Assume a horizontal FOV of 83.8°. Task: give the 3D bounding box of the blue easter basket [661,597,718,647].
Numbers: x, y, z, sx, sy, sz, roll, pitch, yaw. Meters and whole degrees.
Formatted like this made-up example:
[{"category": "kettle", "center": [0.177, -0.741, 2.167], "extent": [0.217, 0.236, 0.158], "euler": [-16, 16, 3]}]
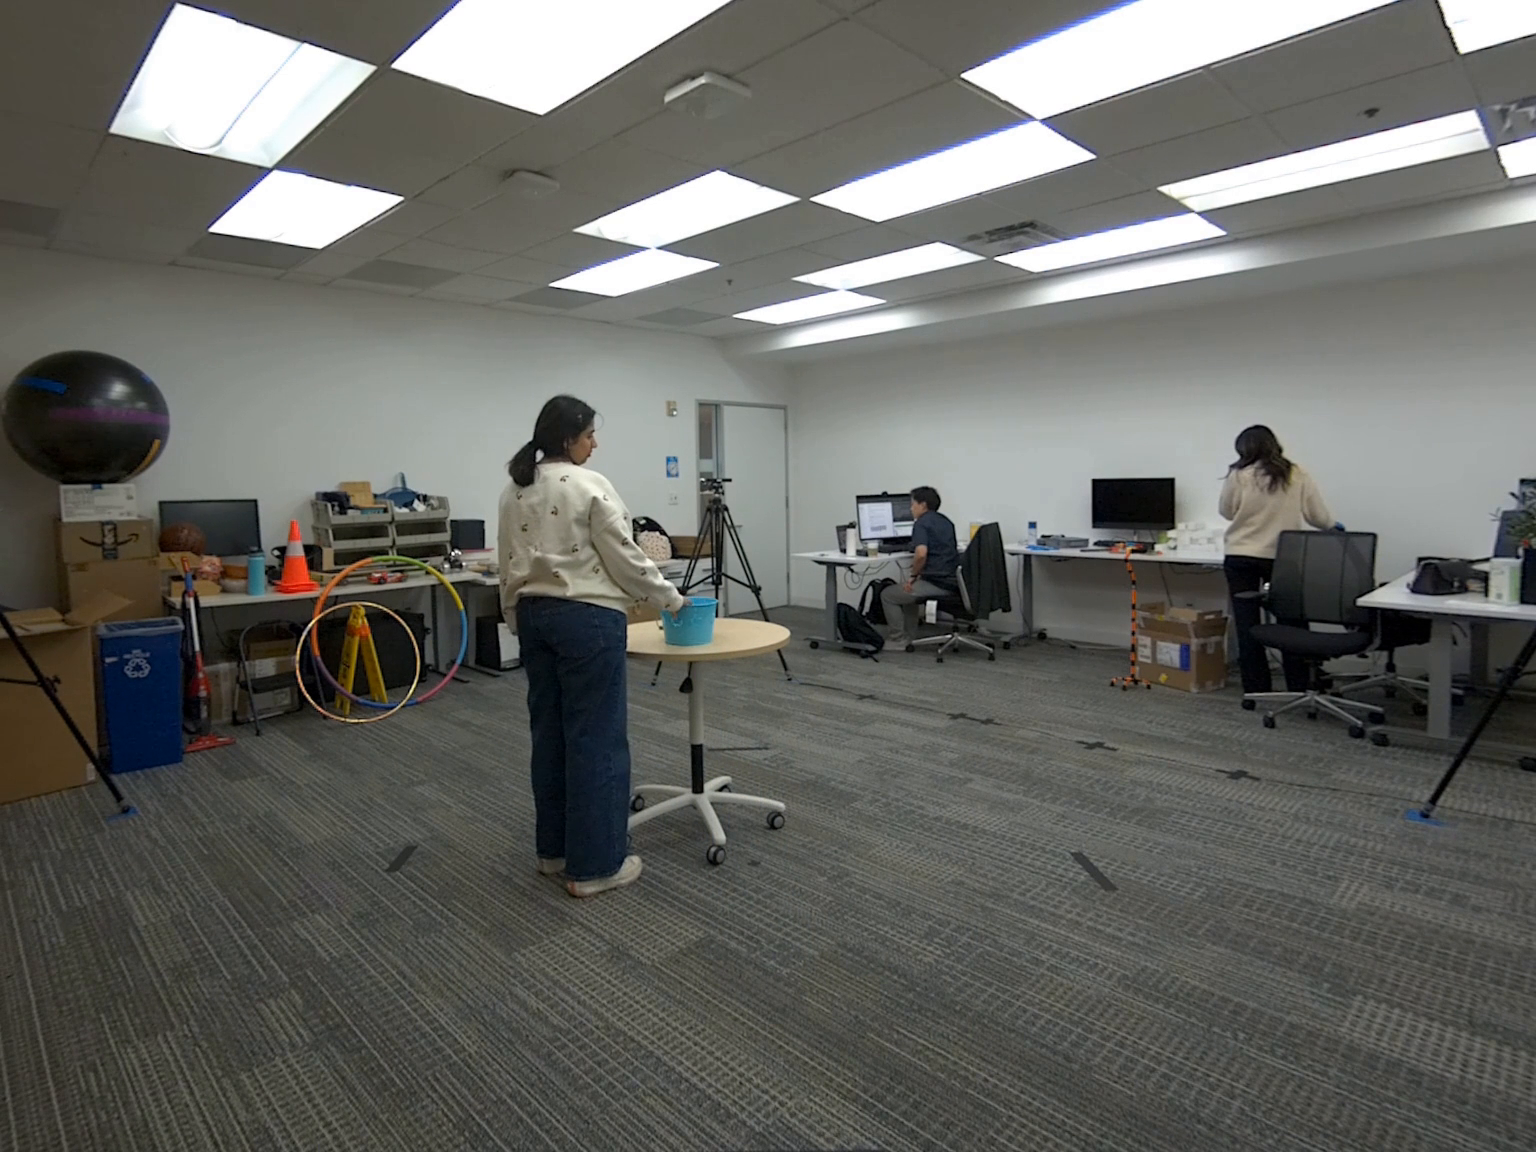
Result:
[{"category": "blue easter basket", "center": [-0.305, 0.172, 3.267], "extent": [0.243, 0.155, 0.245], "euler": [-1, 5, -2]}]
